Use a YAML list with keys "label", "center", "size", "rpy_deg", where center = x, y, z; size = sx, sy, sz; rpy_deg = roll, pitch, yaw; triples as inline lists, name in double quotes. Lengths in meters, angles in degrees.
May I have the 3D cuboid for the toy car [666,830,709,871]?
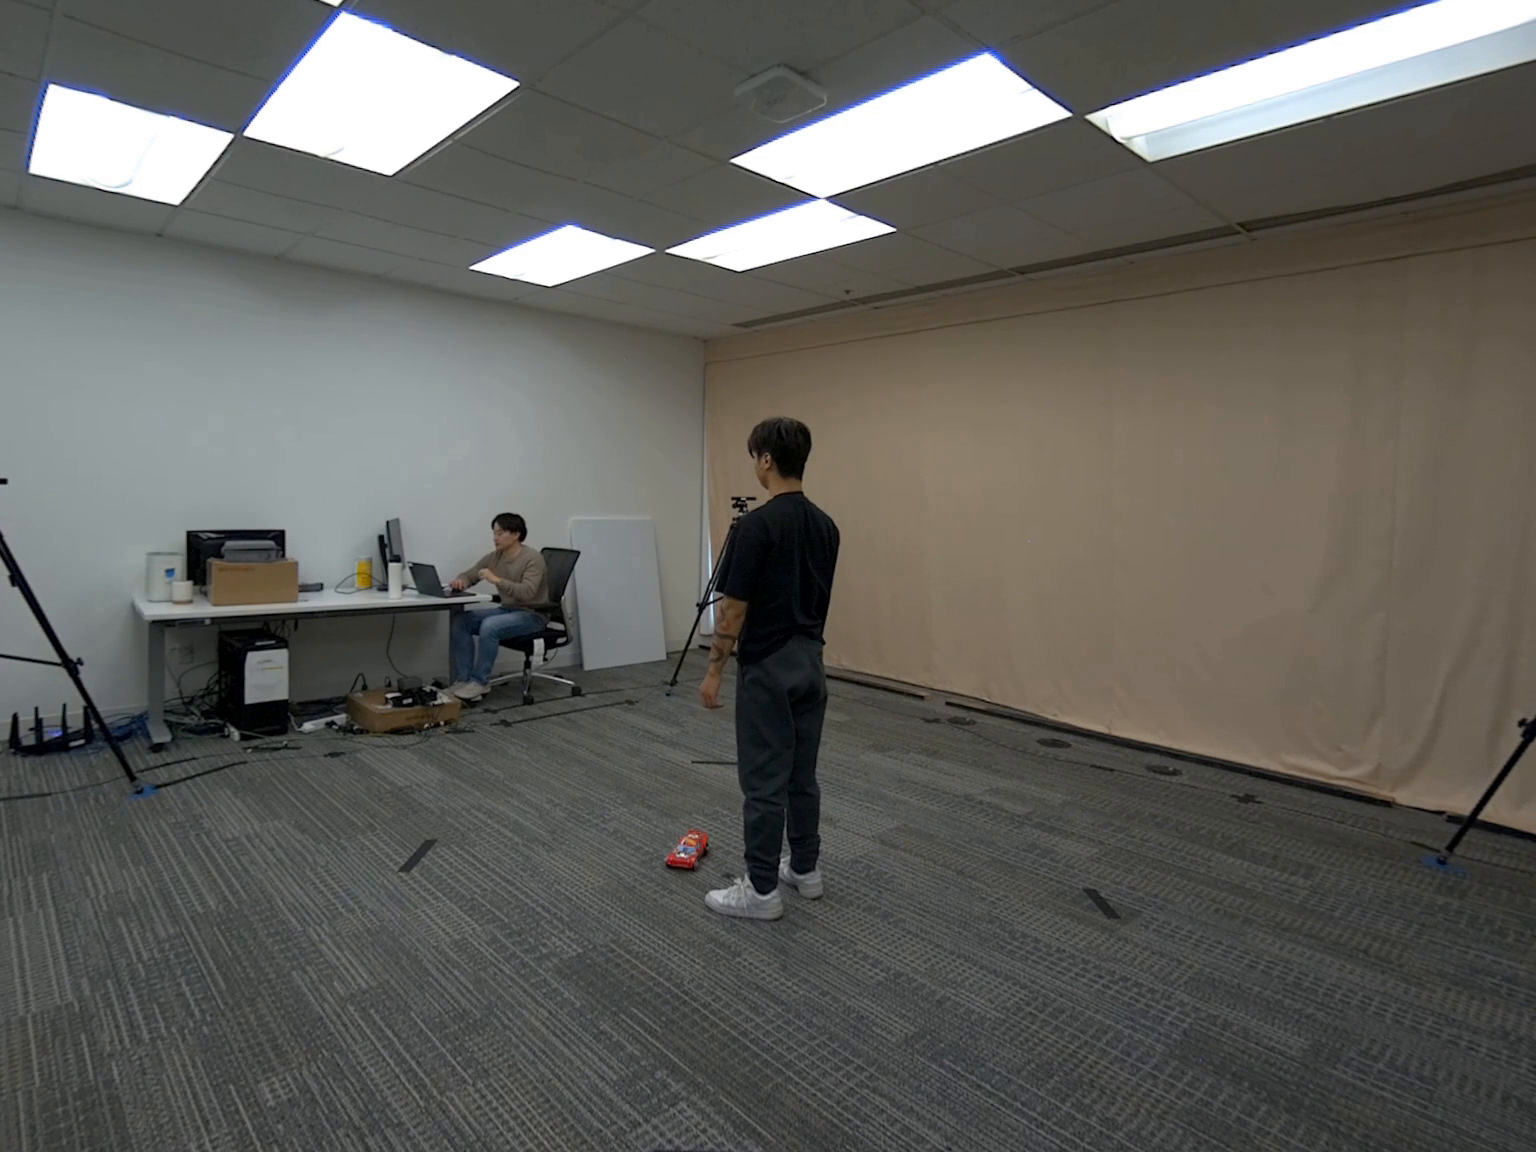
- label: "toy car"
  center: [-0.308, 1.058, 3.243]
  size: [0.132, 0.082, 0.254]
  rpy_deg: [2, 15, 14]
